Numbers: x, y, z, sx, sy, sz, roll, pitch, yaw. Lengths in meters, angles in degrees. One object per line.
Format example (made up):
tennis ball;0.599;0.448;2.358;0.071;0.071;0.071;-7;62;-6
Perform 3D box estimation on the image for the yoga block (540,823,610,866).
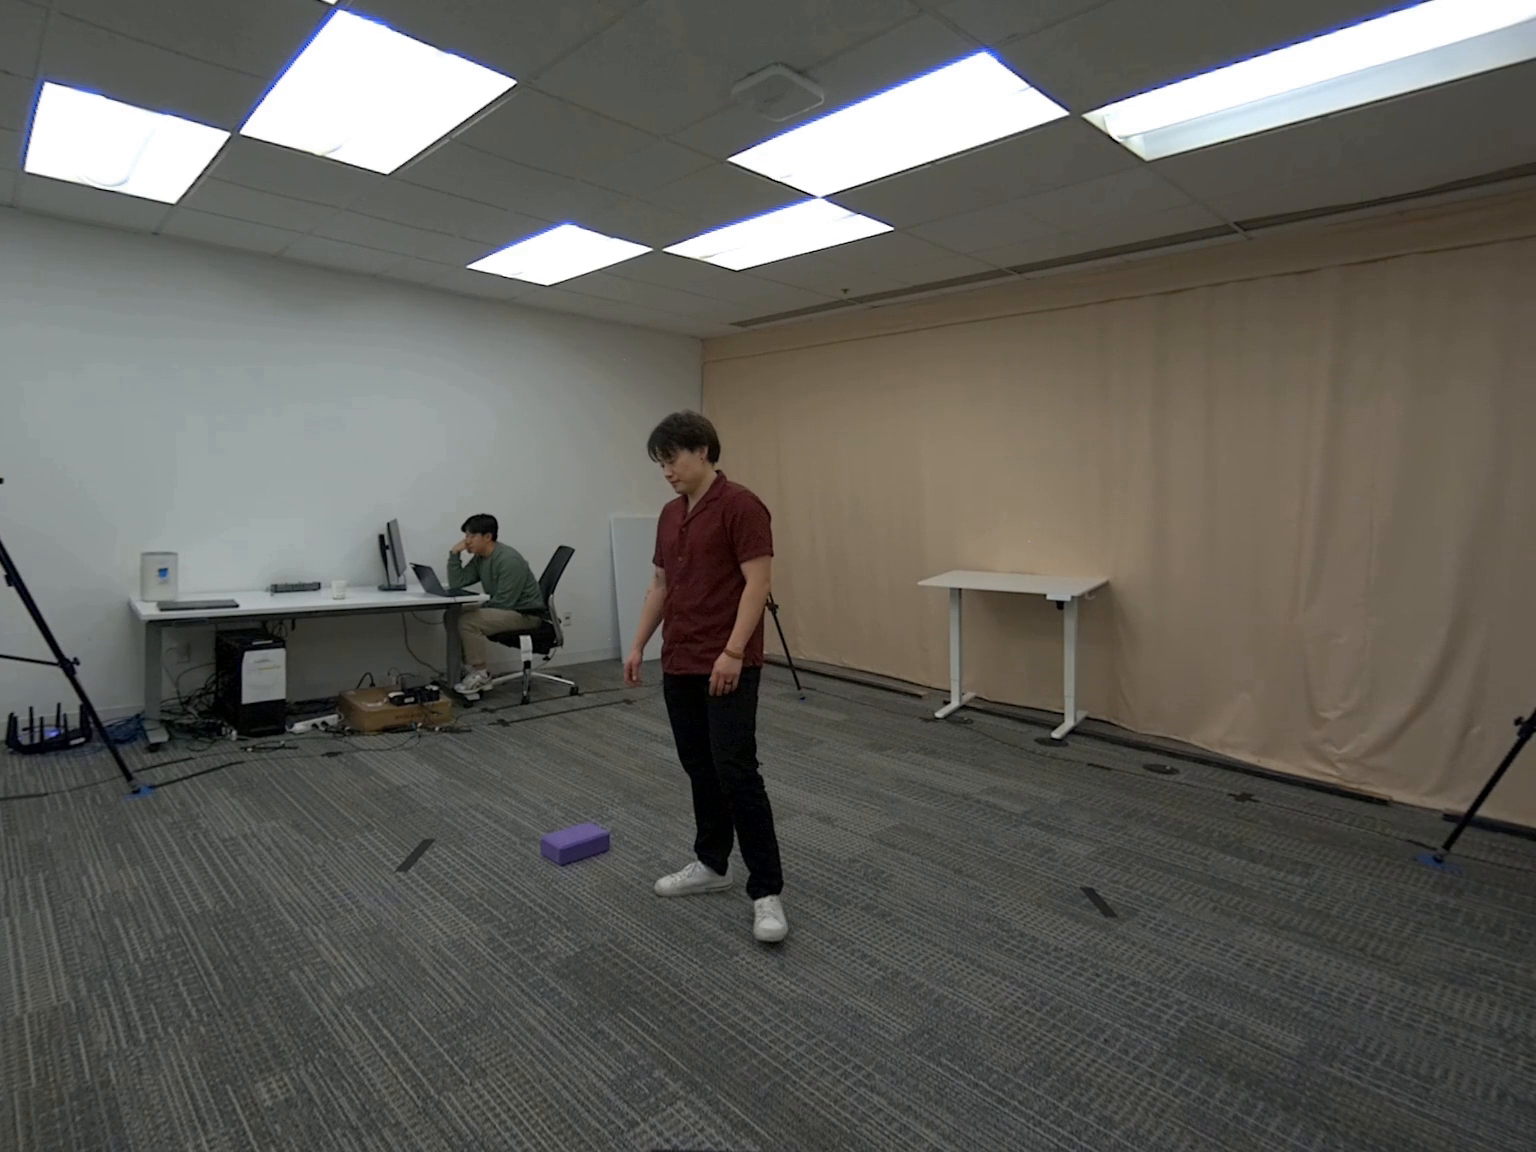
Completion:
yoga block;-0.755;1.039;3.265;0.153;0.076;0.224;6;7;44
